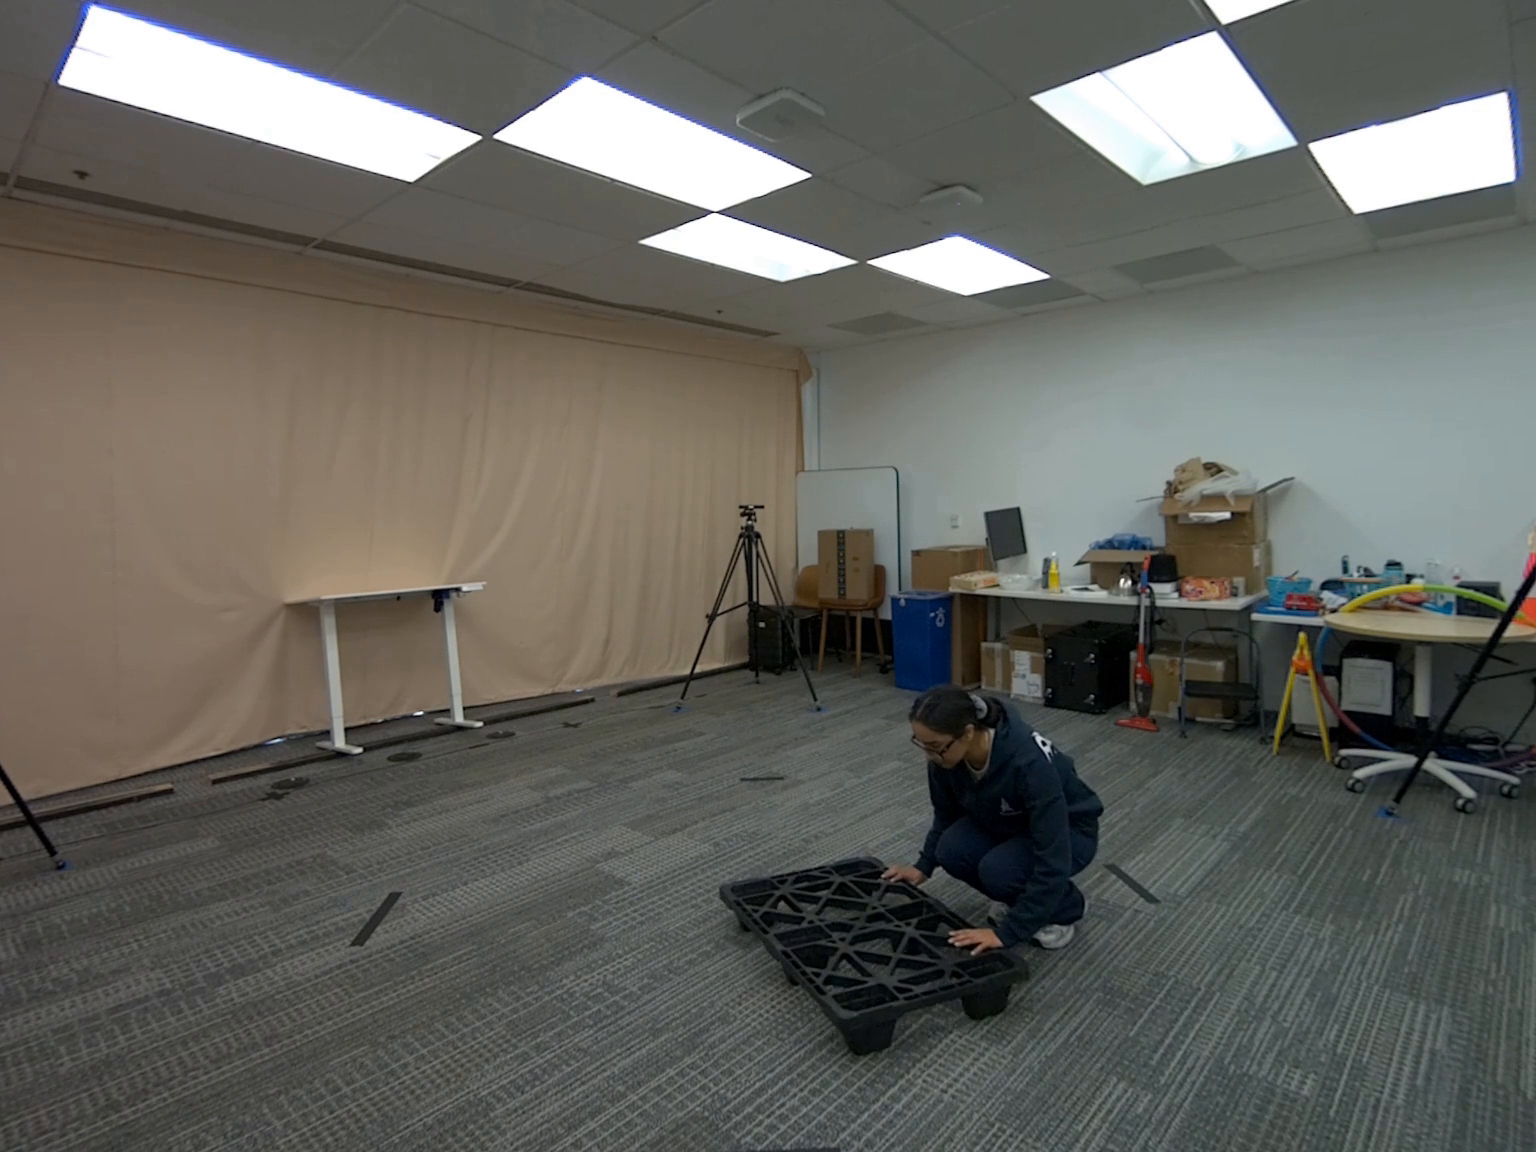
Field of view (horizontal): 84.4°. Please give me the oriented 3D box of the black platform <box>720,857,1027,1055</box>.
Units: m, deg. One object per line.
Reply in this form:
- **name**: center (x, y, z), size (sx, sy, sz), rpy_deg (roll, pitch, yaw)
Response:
- **black platform**: center (0.278, 1.110, 2.544), size (0.592, 0.143, 0.826), rpy_deg (-2, 5, -24)
